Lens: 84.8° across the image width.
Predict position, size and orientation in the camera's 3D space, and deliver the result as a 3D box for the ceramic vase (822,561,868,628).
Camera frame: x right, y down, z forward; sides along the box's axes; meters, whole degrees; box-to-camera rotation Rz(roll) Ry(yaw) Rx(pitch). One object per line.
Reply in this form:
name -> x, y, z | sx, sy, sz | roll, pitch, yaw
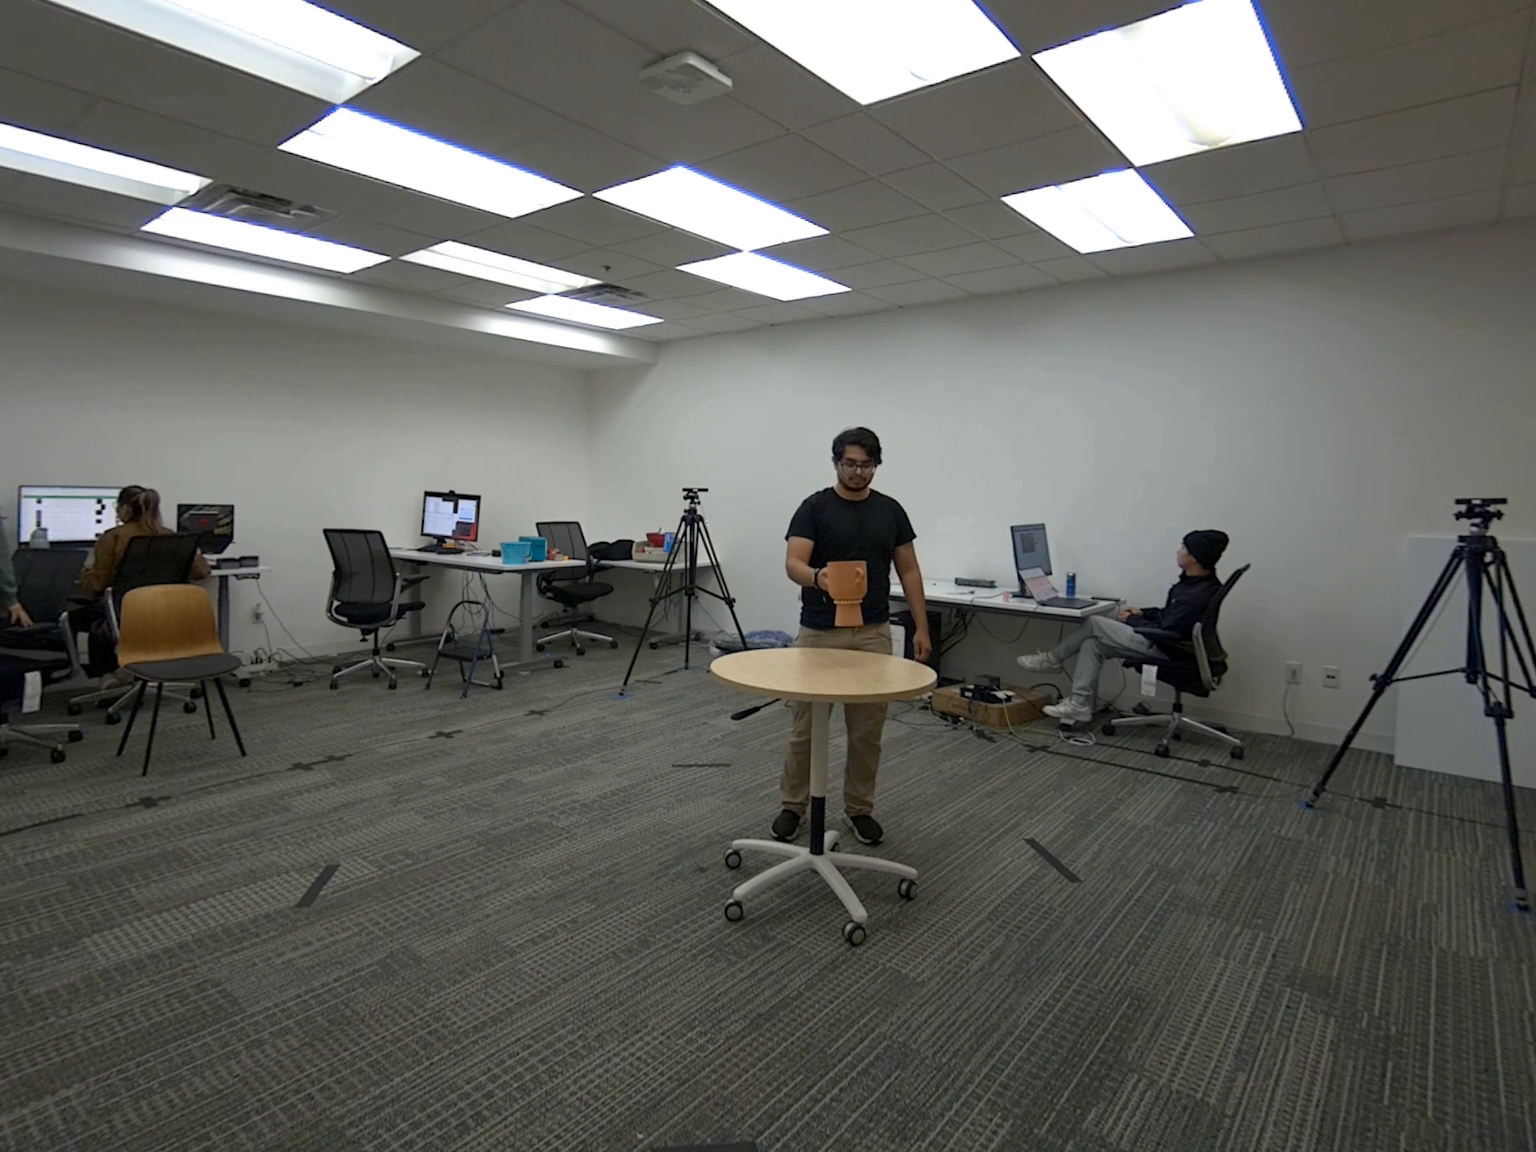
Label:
ceramic vase -> 0.267, 0.059, 2.949 | 0.137, 0.220, 0.156 | 1, -1, 15
